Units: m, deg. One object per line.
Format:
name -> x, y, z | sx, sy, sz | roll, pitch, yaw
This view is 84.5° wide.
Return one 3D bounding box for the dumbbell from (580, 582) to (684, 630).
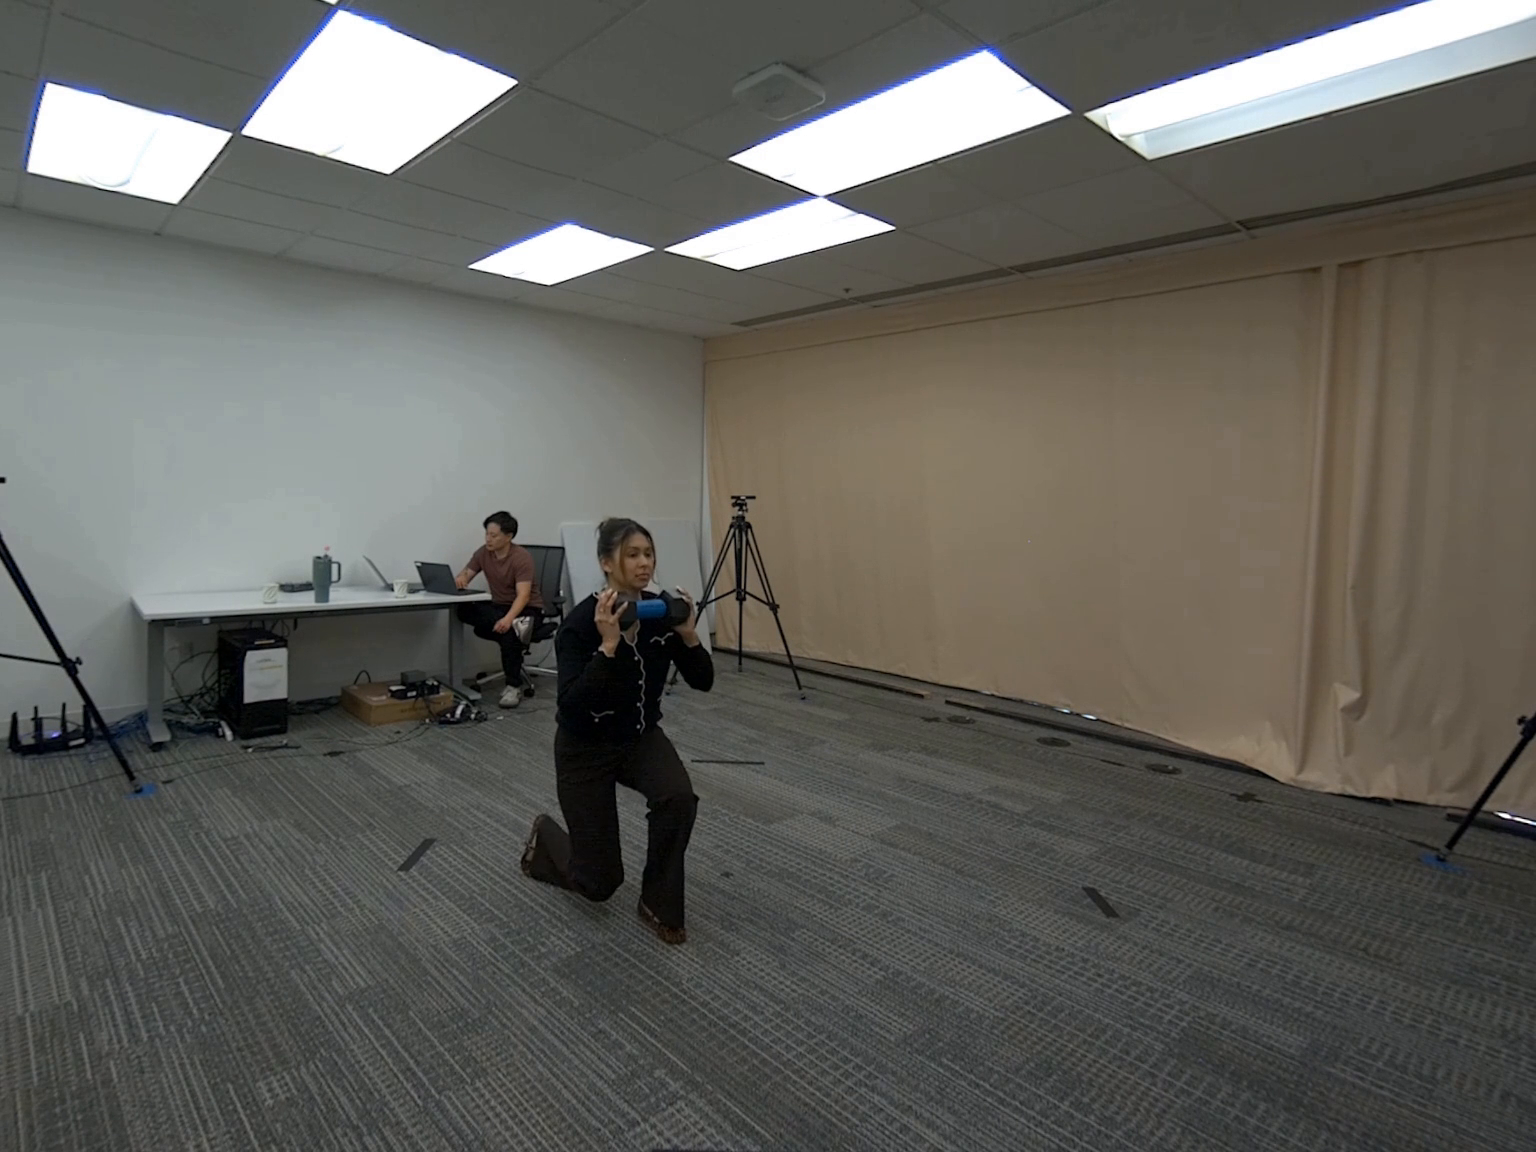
dumbbell -> -0.432, 0.102, 2.668 | 0.287, 0.111, 0.123 | -4, -27, -47
